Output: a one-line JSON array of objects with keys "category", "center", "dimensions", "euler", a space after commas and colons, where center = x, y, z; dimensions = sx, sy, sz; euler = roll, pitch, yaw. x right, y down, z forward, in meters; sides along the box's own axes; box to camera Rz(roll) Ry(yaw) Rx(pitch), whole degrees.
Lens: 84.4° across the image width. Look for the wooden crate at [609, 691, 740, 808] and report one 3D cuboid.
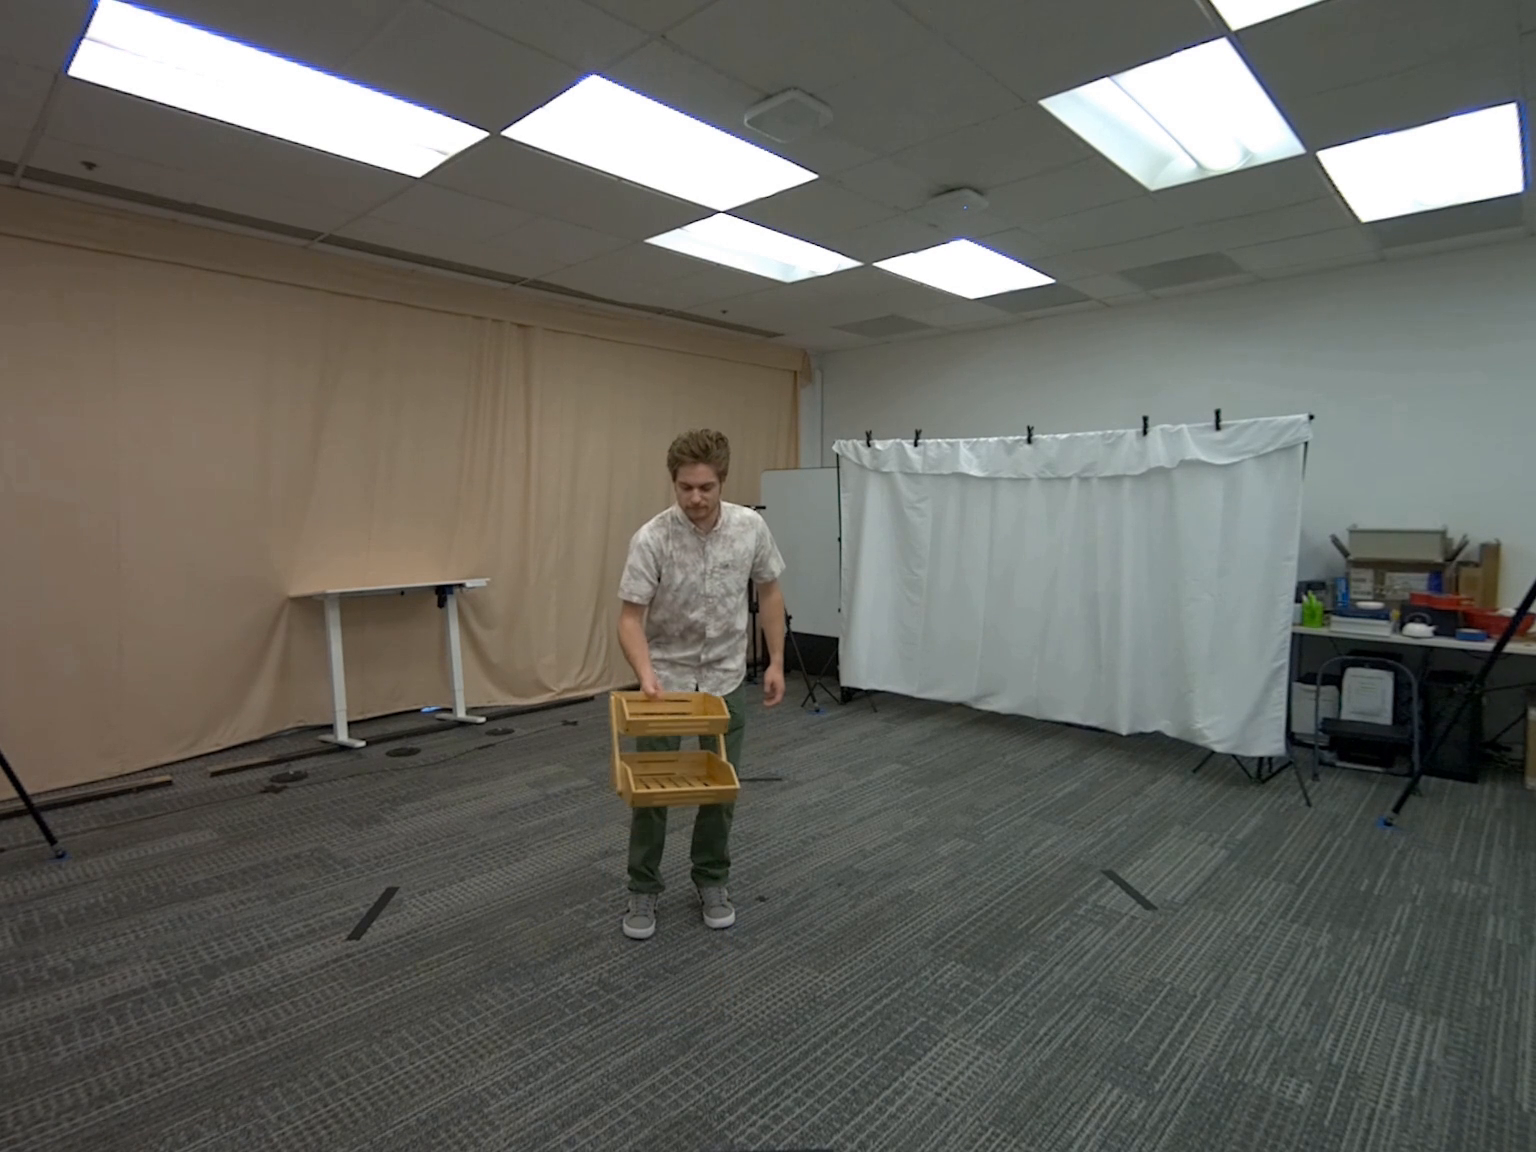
[{"category": "wooden crate", "center": [-0.268, 0.472, 2.365], "dimensions": [0.317, 0.273, 0.308], "euler": [3, -2, -22]}]
